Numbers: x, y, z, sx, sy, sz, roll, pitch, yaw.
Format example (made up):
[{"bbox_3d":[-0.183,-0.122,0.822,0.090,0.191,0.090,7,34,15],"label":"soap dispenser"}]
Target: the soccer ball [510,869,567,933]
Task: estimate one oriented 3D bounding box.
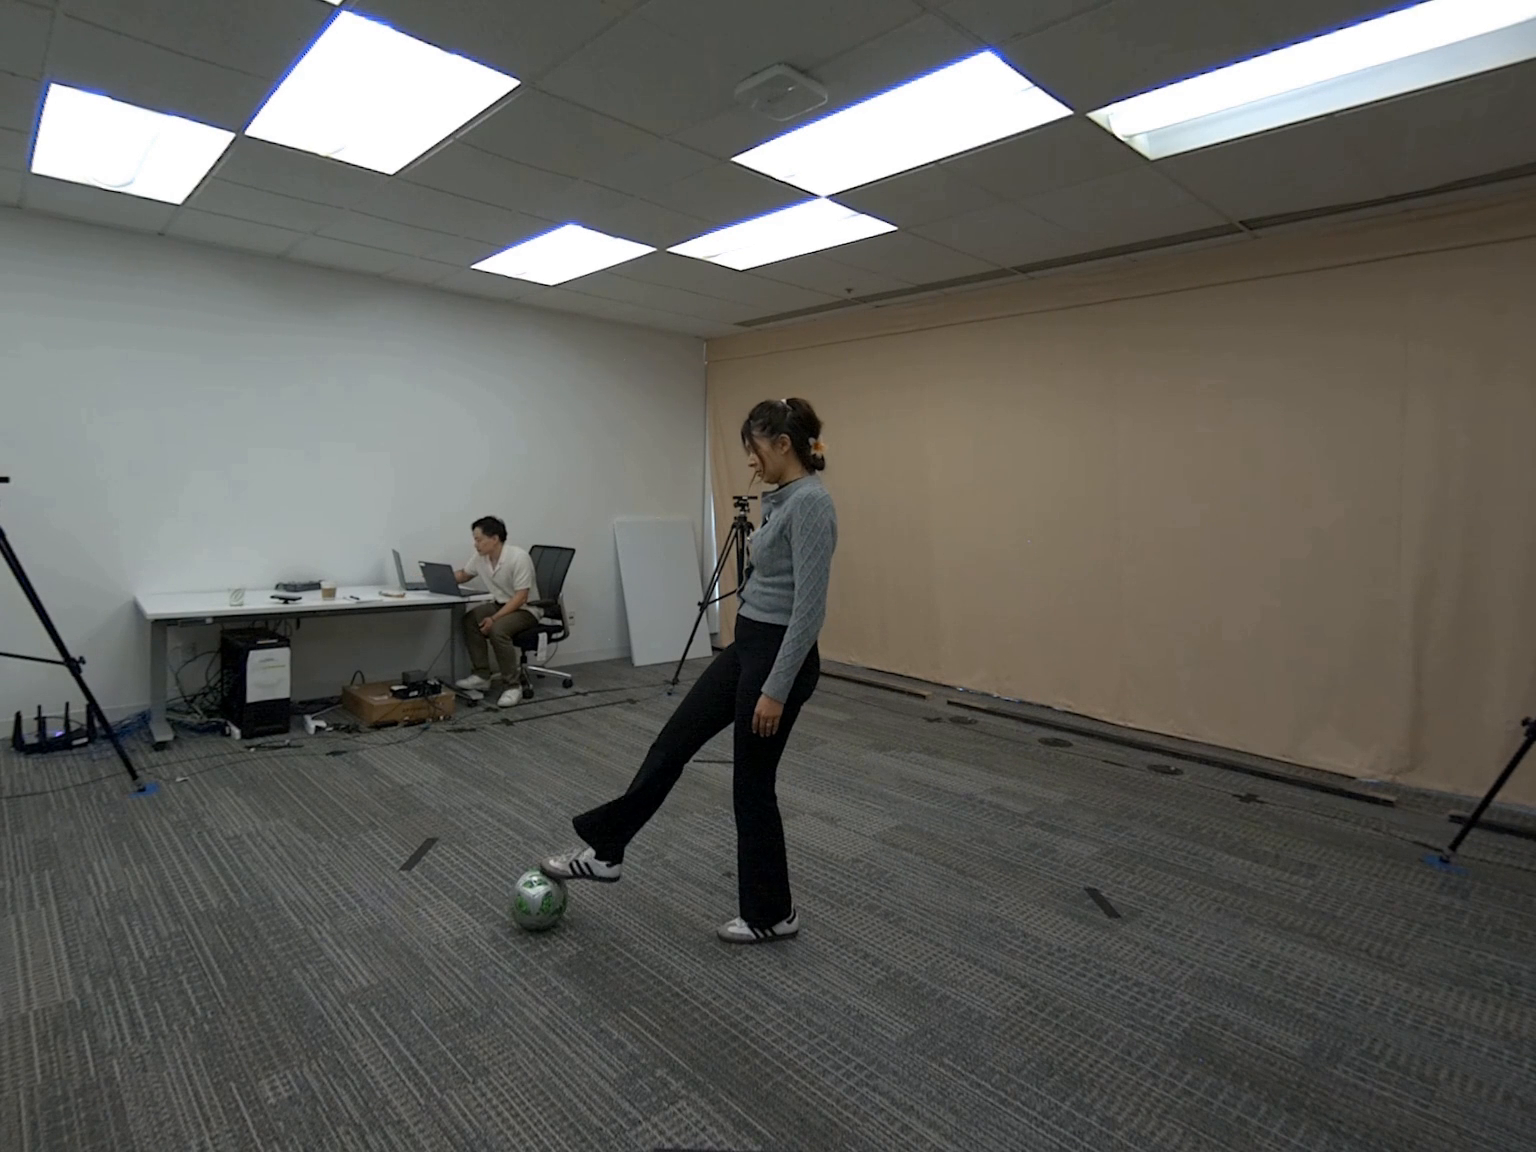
[{"bbox_3d":[-0.737,1.031,2.705,0.187,0.187,0.188,1,4,-1],"label":"soccer ball"}]
